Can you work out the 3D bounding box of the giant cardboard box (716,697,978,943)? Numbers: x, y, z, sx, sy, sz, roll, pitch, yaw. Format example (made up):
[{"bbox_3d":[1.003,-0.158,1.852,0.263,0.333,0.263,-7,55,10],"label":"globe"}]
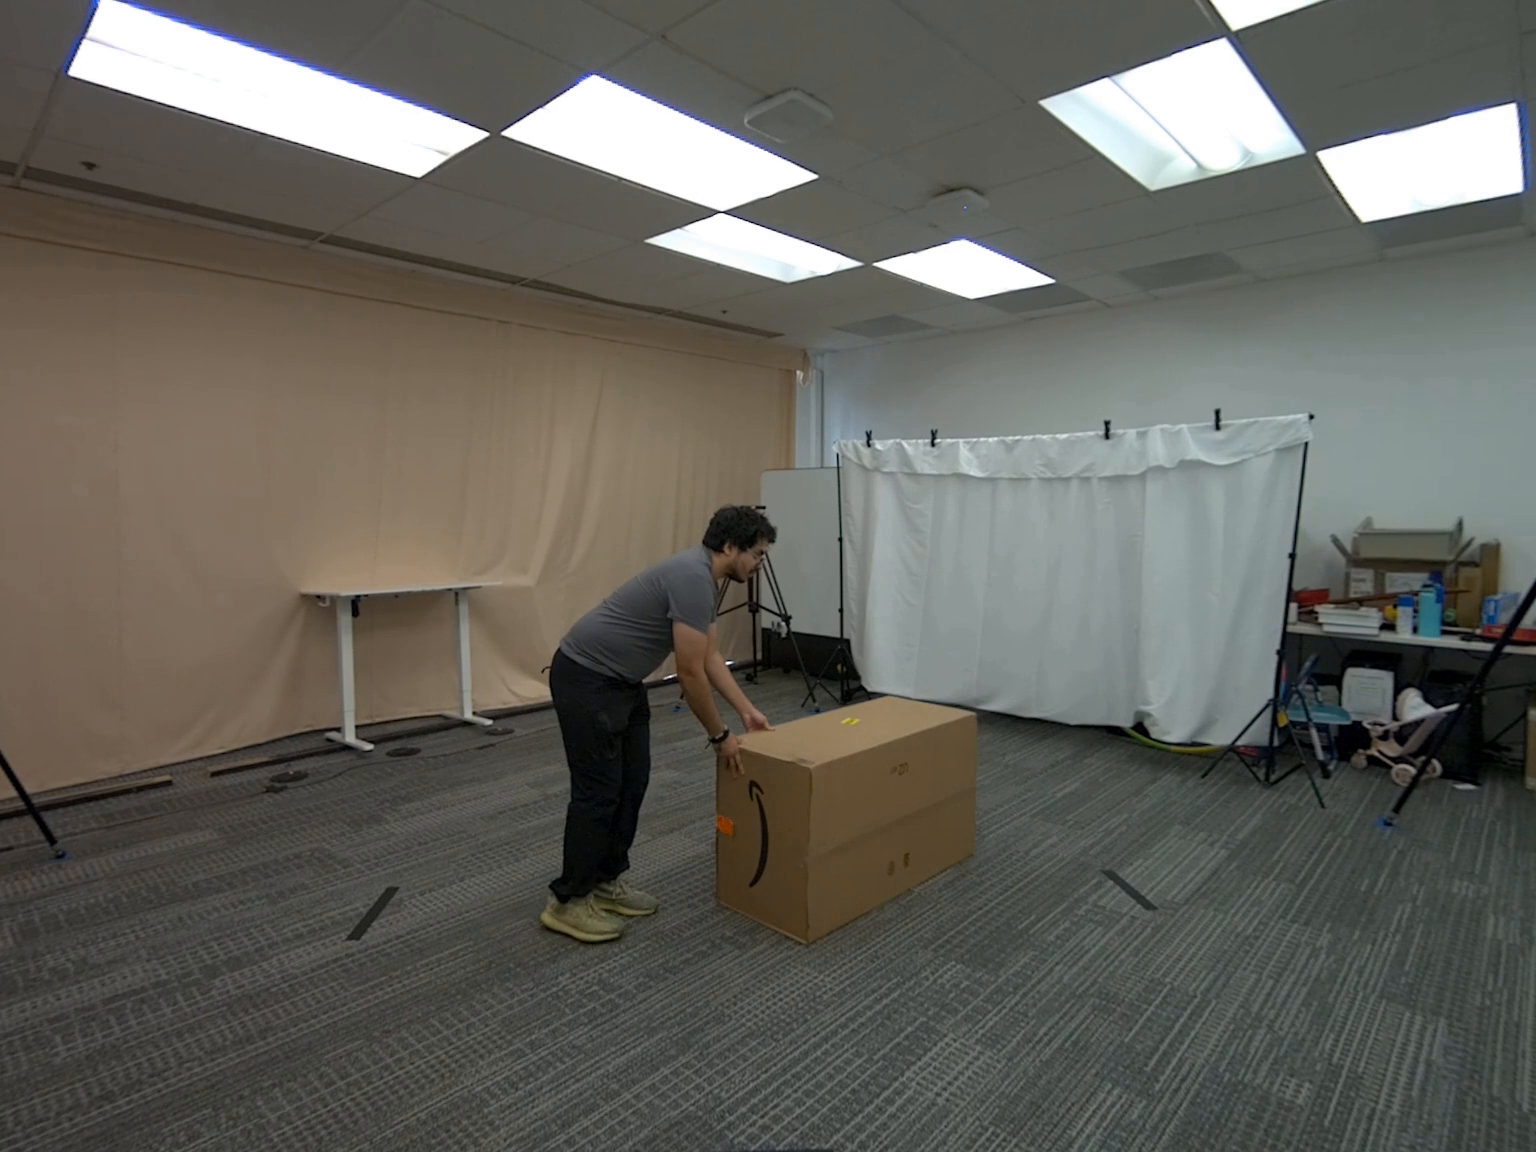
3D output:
[{"bbox_3d":[0.326,0.846,3.148,0.440,0.576,0.994,3,6,45],"label":"giant cardboard box"}]
